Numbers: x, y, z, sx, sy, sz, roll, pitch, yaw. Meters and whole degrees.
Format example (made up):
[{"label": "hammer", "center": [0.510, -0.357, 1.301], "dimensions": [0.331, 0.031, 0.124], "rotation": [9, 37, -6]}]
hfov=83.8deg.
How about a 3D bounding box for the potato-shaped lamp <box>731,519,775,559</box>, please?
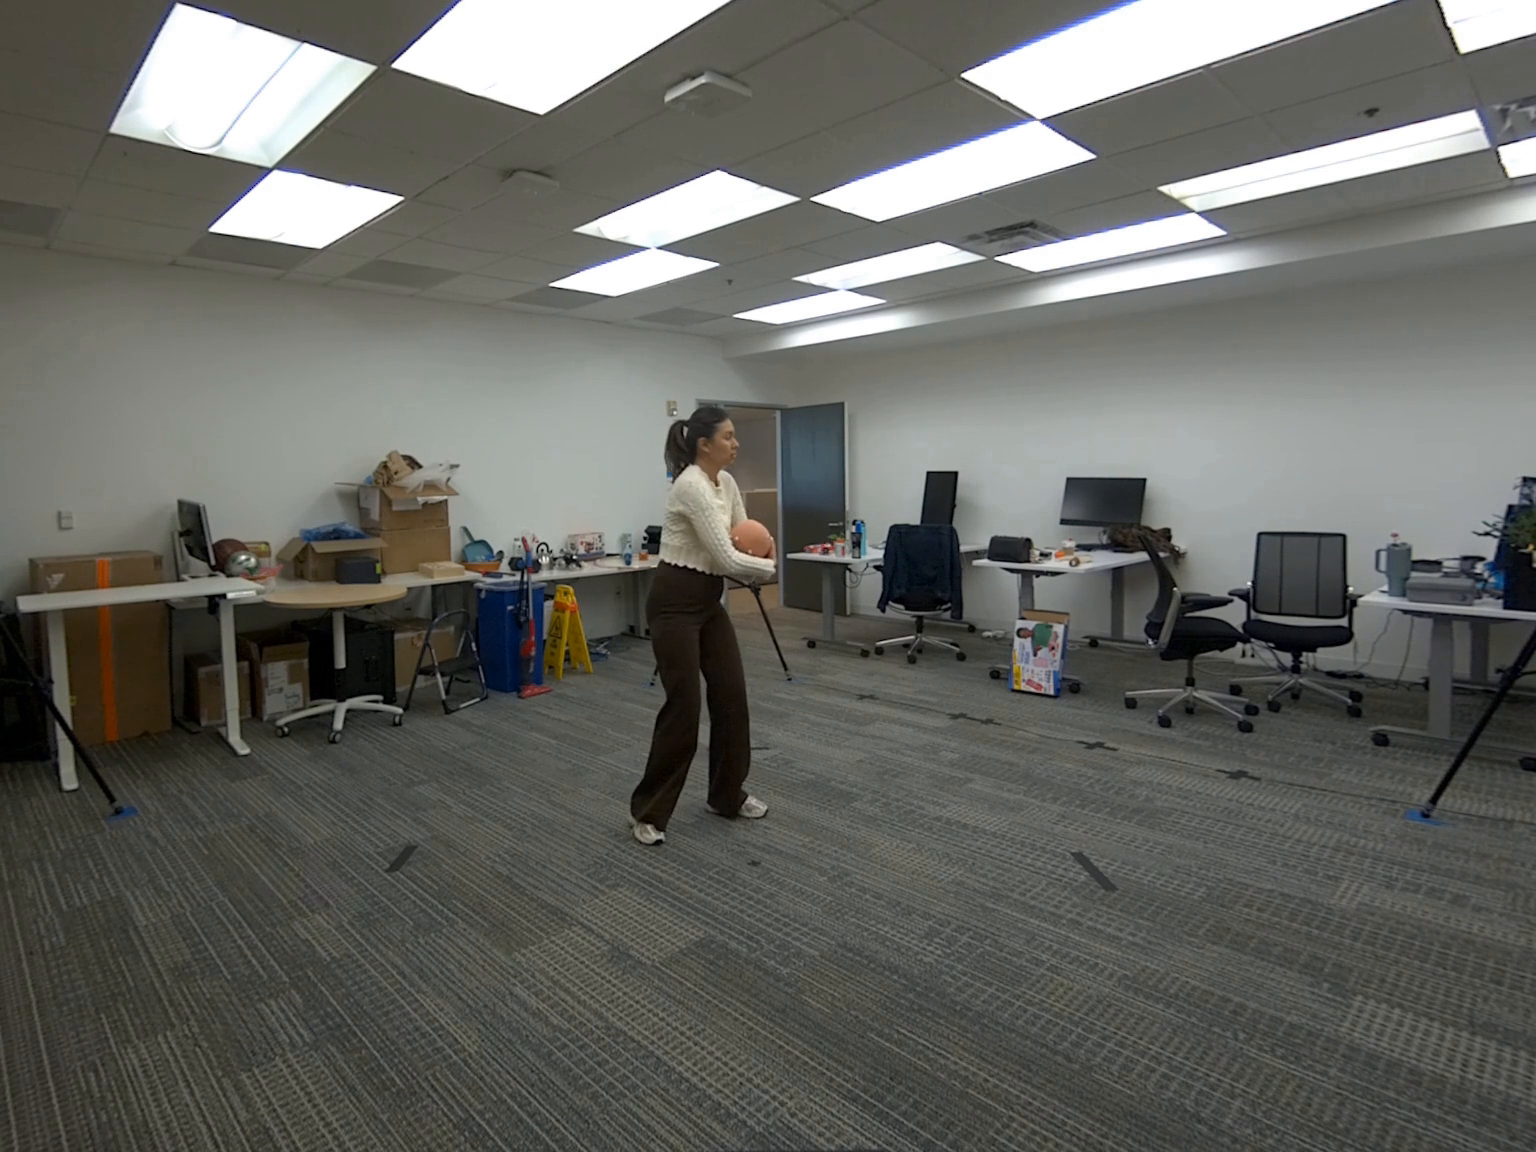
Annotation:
[{"label": "potato-shaped lamp", "center": [-0.079, -0.153, 3.373], "dimensions": [0.167, 0.171, 0.195], "rotation": [36, -17, 10]}]
